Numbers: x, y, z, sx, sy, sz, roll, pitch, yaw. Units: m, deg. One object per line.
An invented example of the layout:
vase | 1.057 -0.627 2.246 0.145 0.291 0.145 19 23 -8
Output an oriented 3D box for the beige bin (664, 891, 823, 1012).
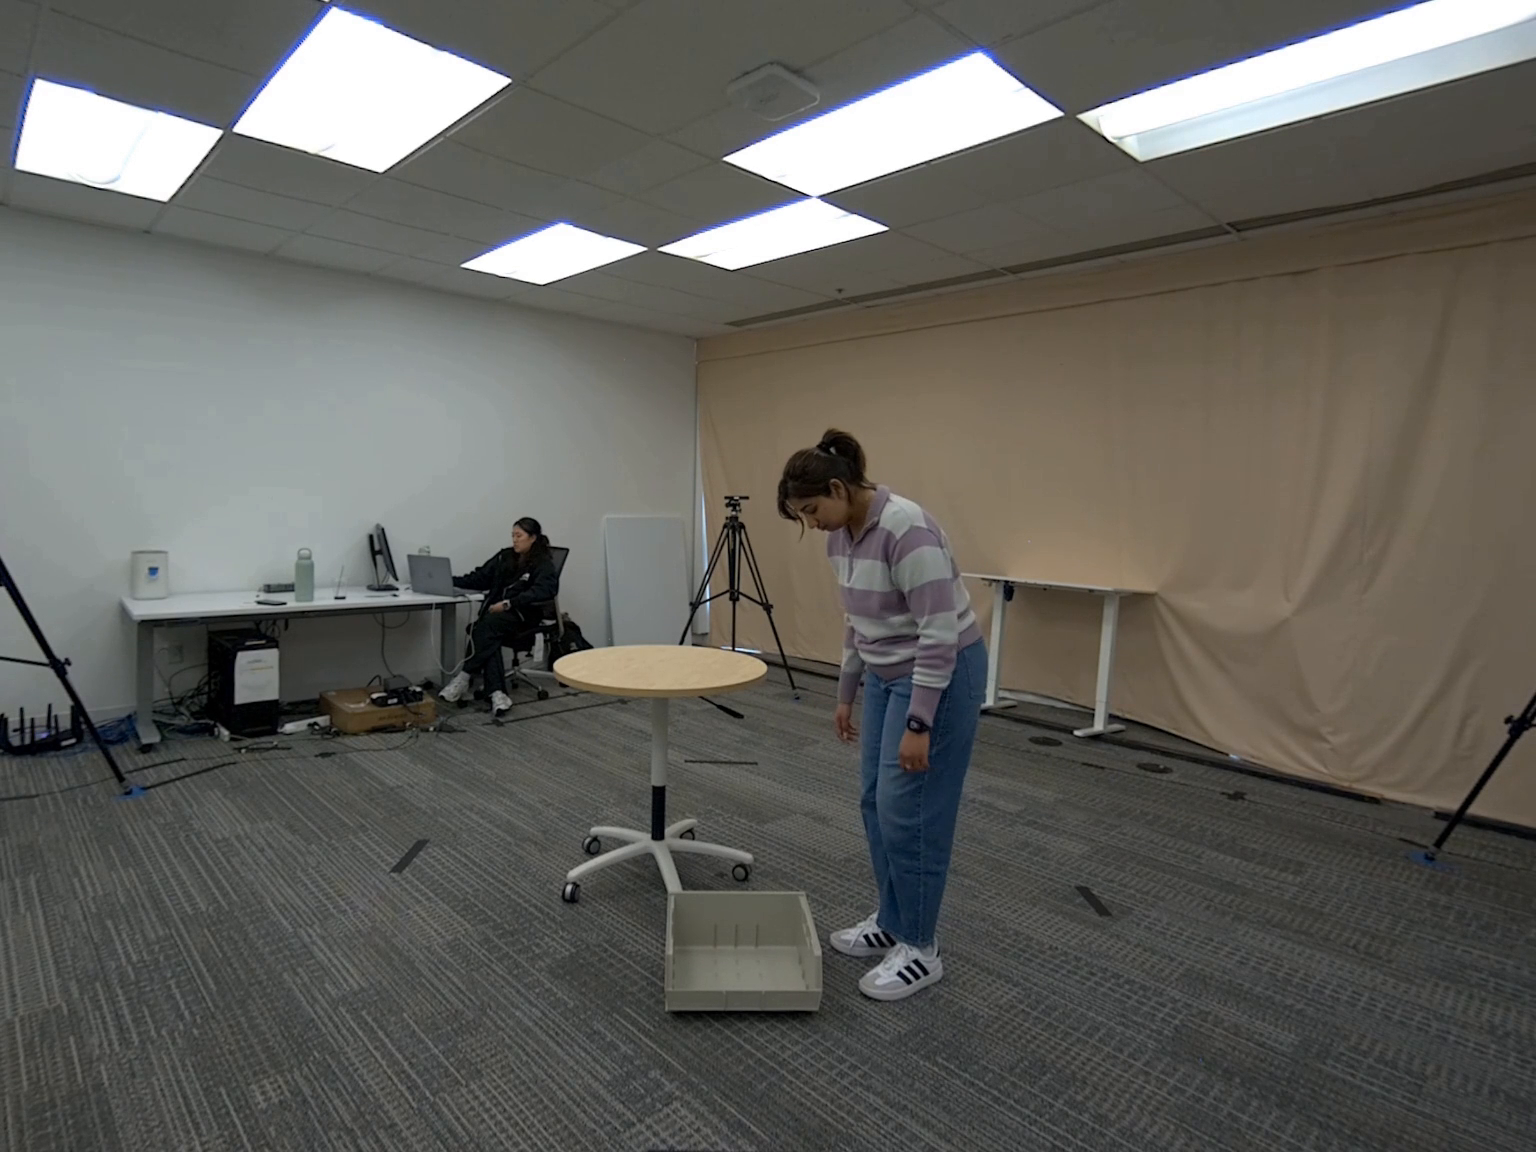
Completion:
beige bin | -0.081 1.079 2.408 0.421 0.188 0.379 0 4 -4
